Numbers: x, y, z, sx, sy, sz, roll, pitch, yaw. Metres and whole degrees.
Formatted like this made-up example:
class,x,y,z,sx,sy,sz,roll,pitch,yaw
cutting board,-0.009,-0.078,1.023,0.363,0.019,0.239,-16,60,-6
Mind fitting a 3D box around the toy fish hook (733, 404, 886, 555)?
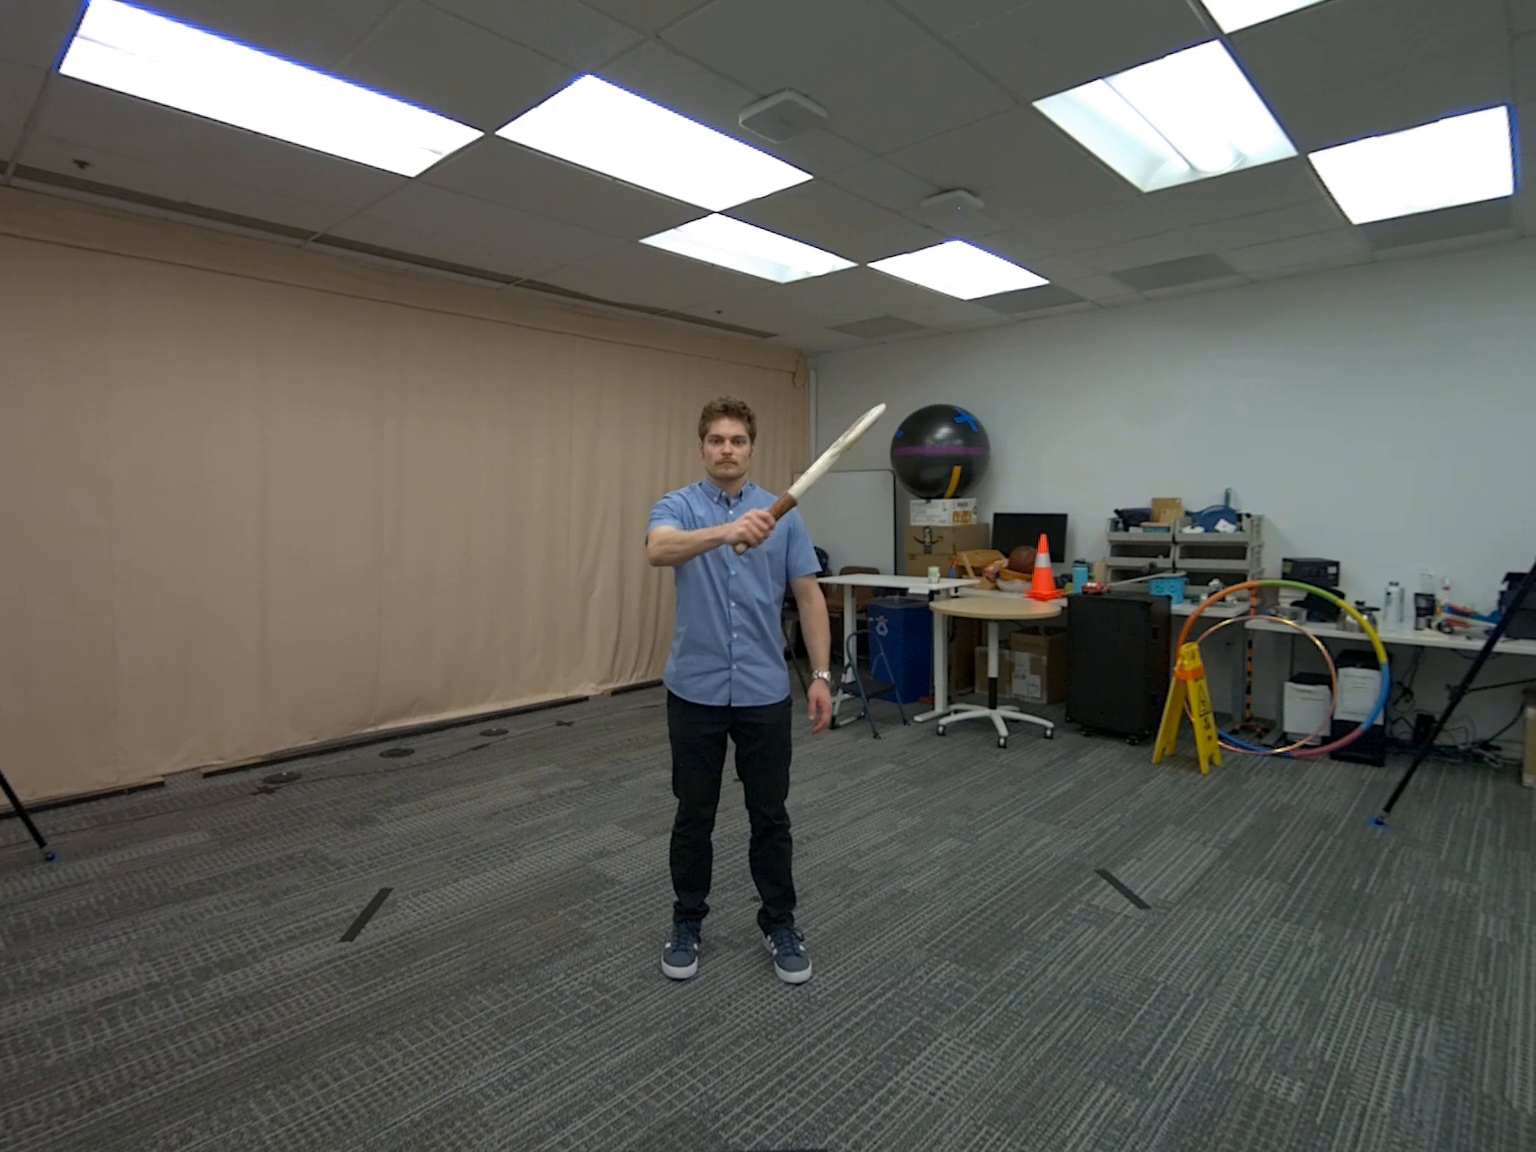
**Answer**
class,x,y,z,sx,sy,sz,roll,pitch,yaw
toy fish hook,0.102,-0.231,2.070,0.048,0.506,0.224,43,-3,-1
